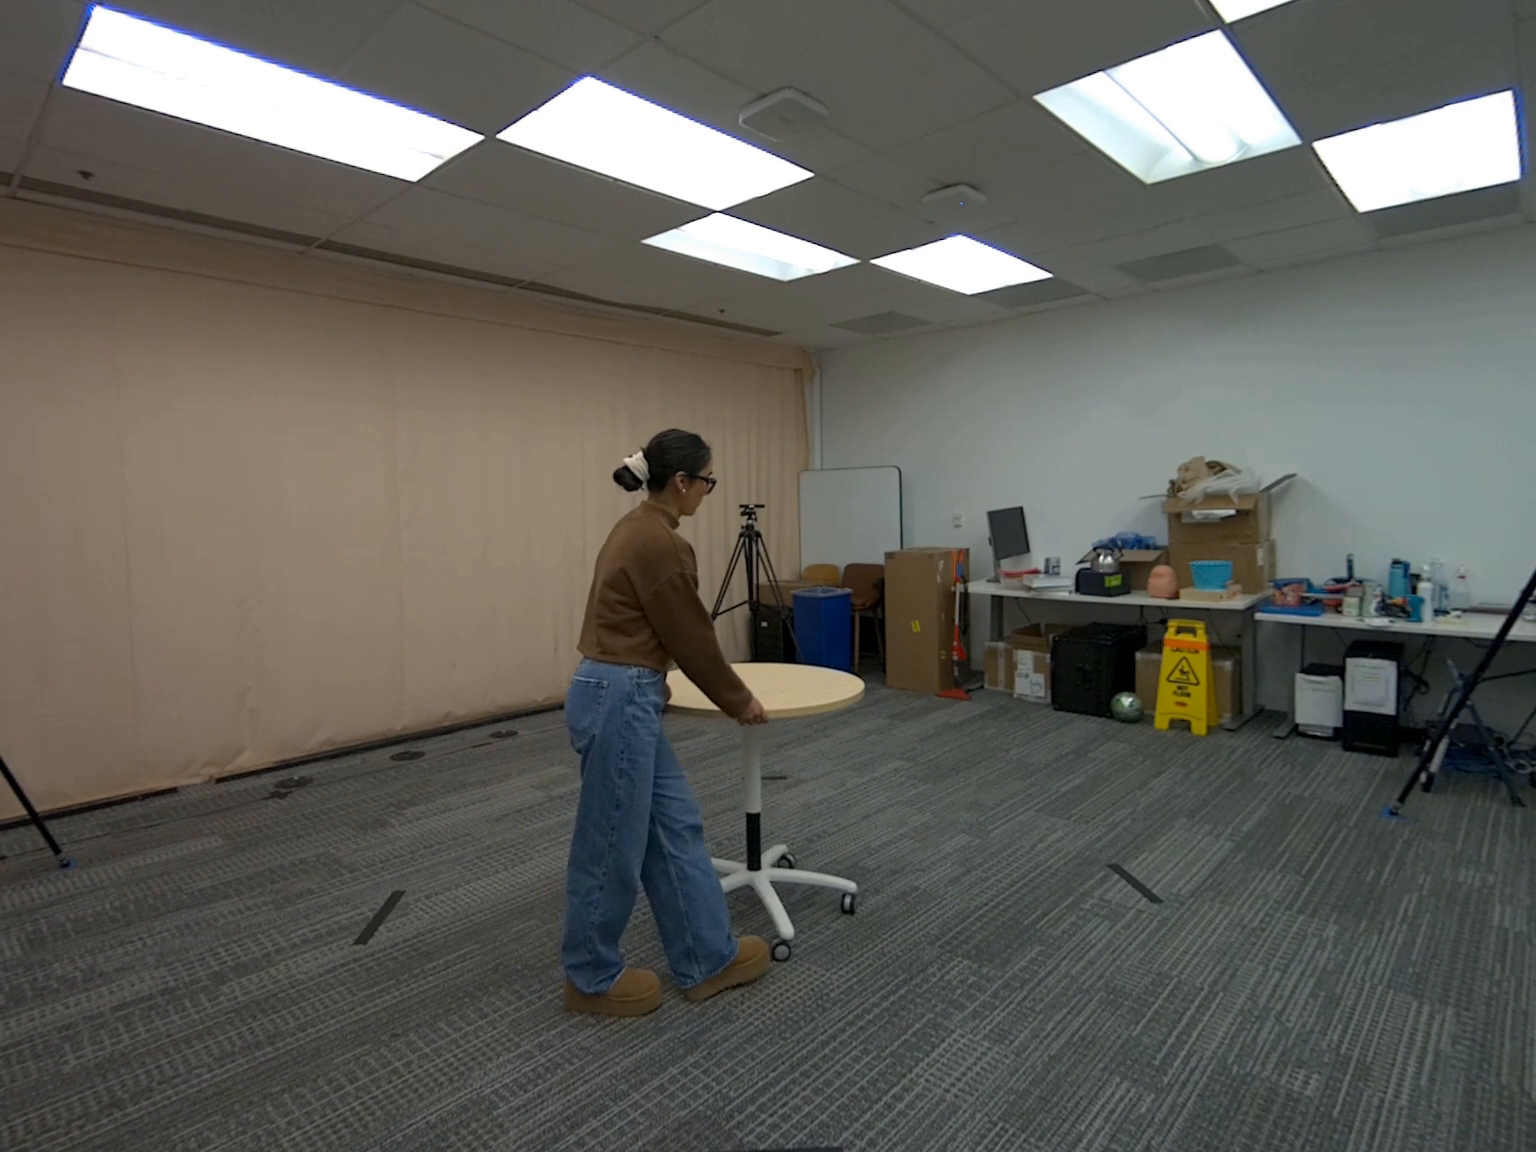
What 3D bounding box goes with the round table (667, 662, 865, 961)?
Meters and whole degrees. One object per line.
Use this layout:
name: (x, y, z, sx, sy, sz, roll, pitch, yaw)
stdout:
round table: (-0.054, 0.754, 2.901, 0.784, 0.785, 0.788, -1, 4, -2)
